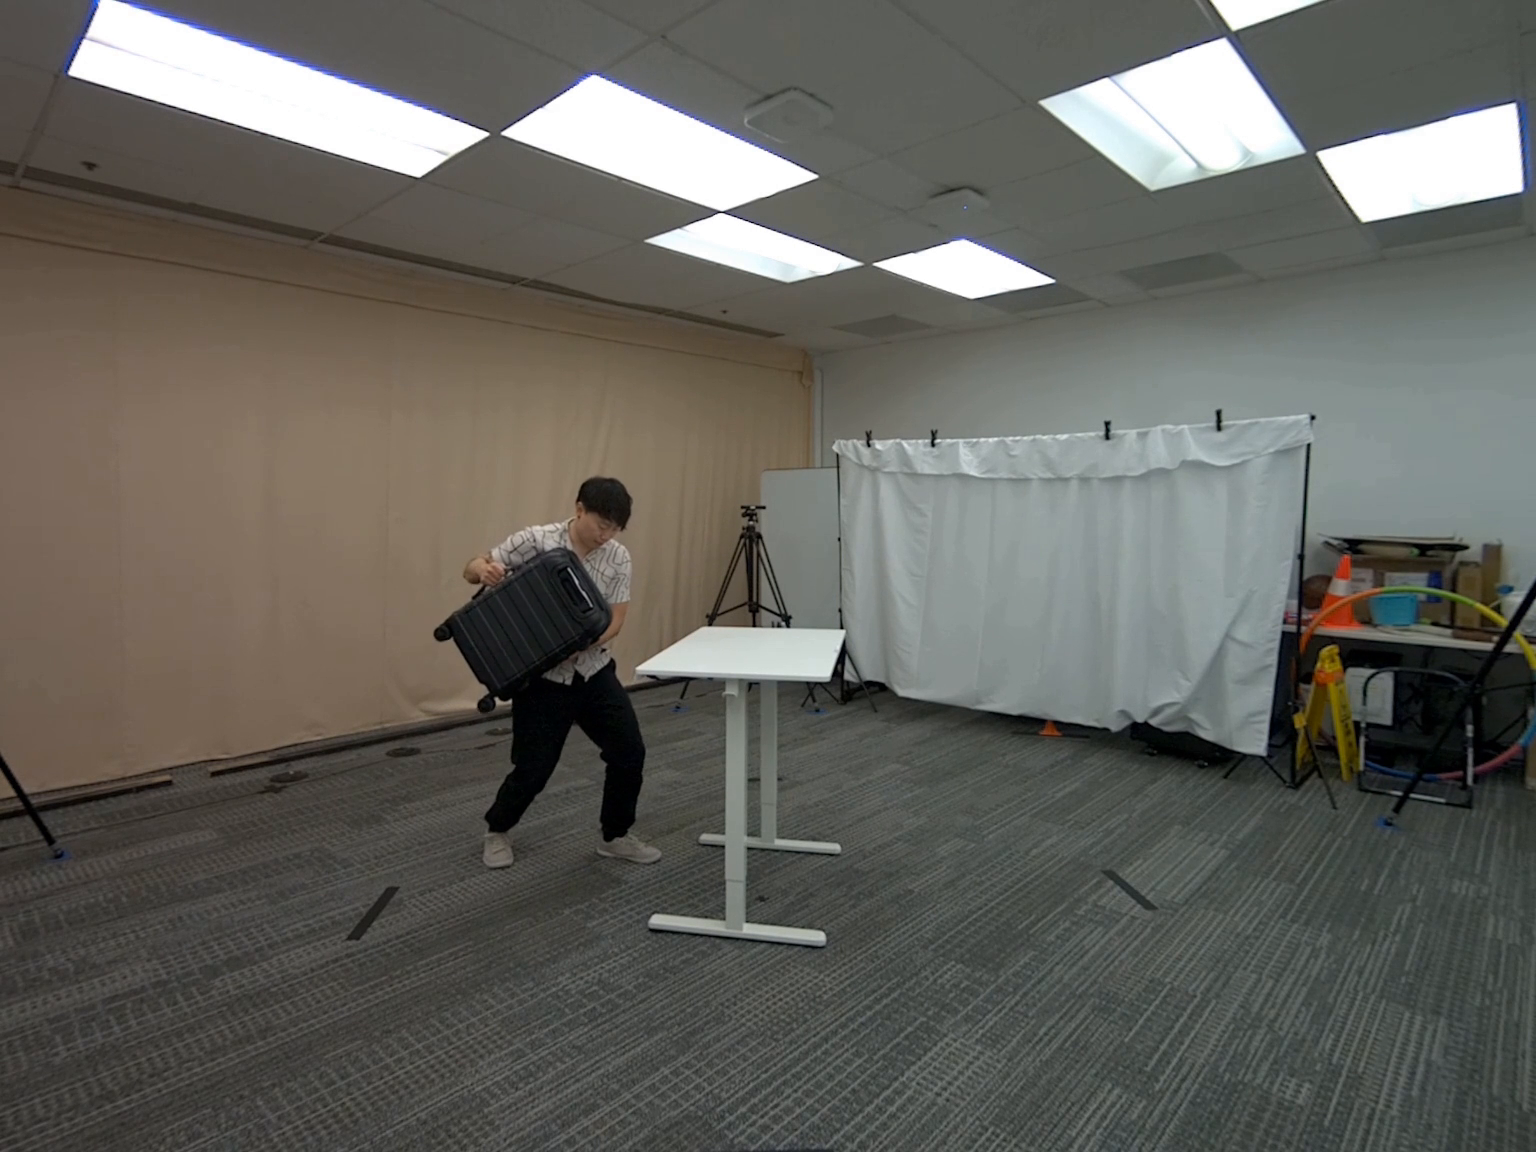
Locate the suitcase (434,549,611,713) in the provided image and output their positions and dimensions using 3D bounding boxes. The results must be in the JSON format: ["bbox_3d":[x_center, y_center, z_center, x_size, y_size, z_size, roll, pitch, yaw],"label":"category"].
[{"bbox_3d":[-0.850,0.148,2.996,0.551,0.376,0.247,-29,-1,4],"label":"suitcase"}]
